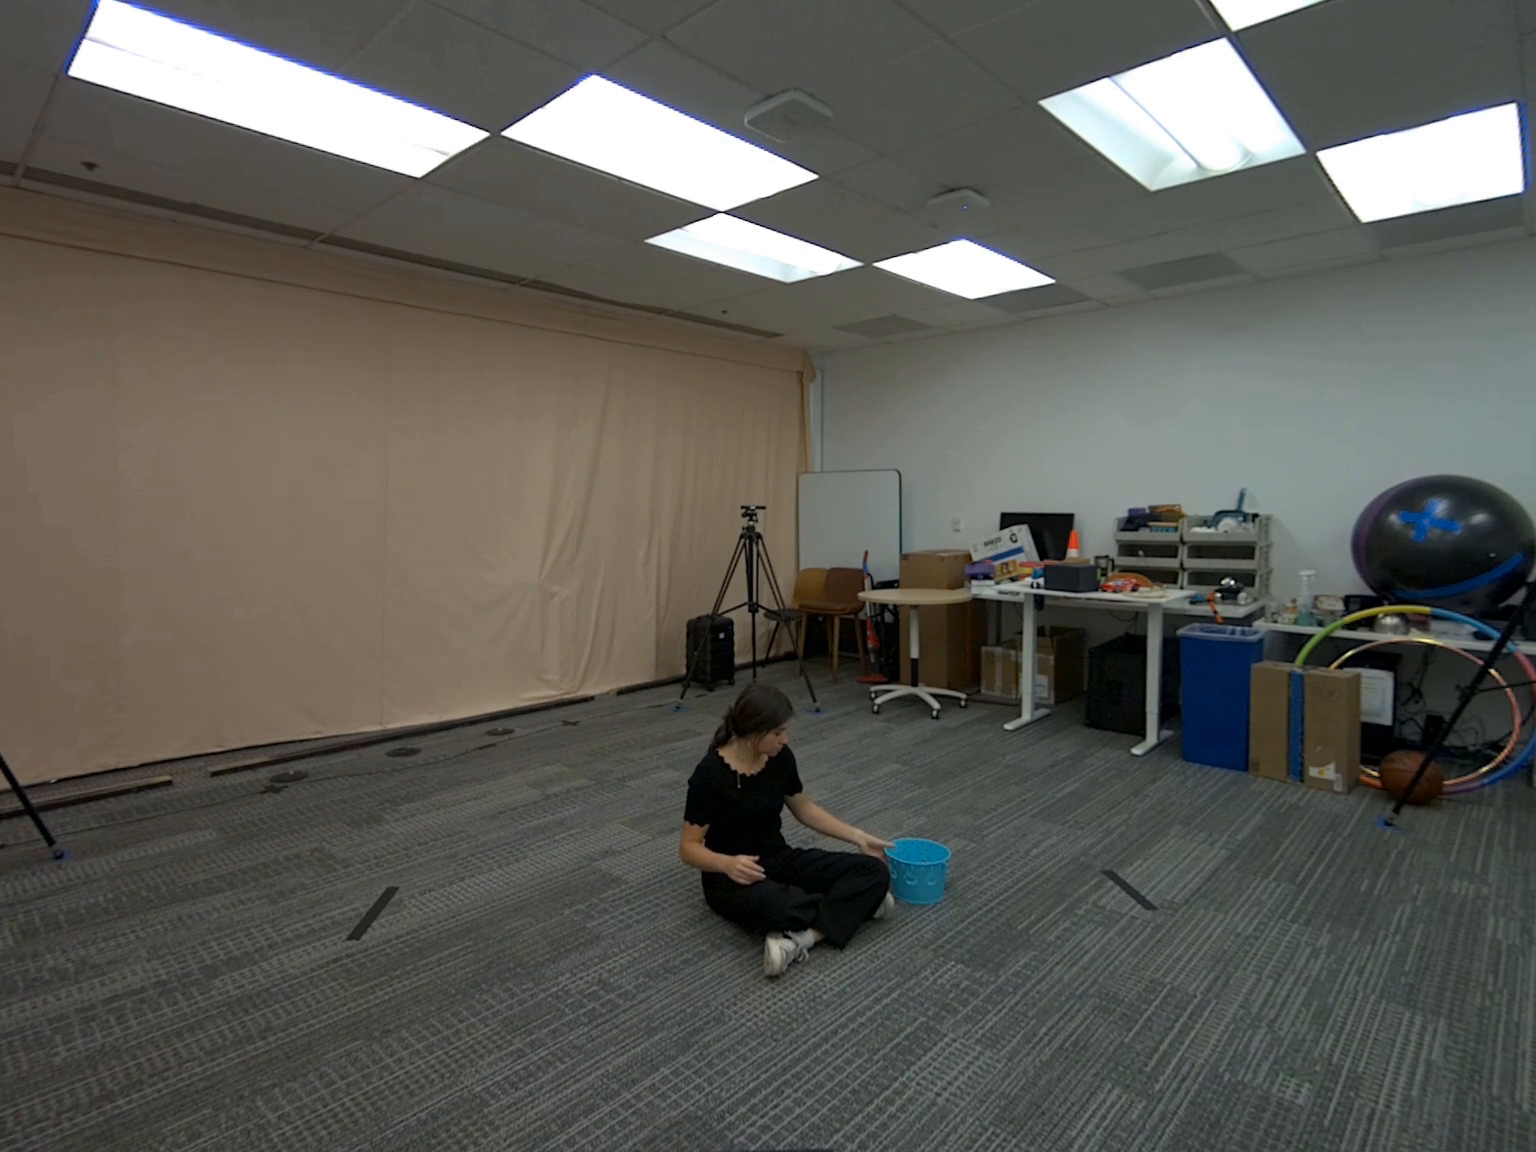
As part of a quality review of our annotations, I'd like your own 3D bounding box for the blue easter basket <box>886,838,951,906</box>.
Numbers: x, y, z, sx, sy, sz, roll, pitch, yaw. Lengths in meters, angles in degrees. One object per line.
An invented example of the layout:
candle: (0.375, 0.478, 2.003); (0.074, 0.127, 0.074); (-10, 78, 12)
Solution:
blue easter basket: (0.549, 1.060, 3.018); (0.243, 0.155, 0.244); (0, 4, -2)
